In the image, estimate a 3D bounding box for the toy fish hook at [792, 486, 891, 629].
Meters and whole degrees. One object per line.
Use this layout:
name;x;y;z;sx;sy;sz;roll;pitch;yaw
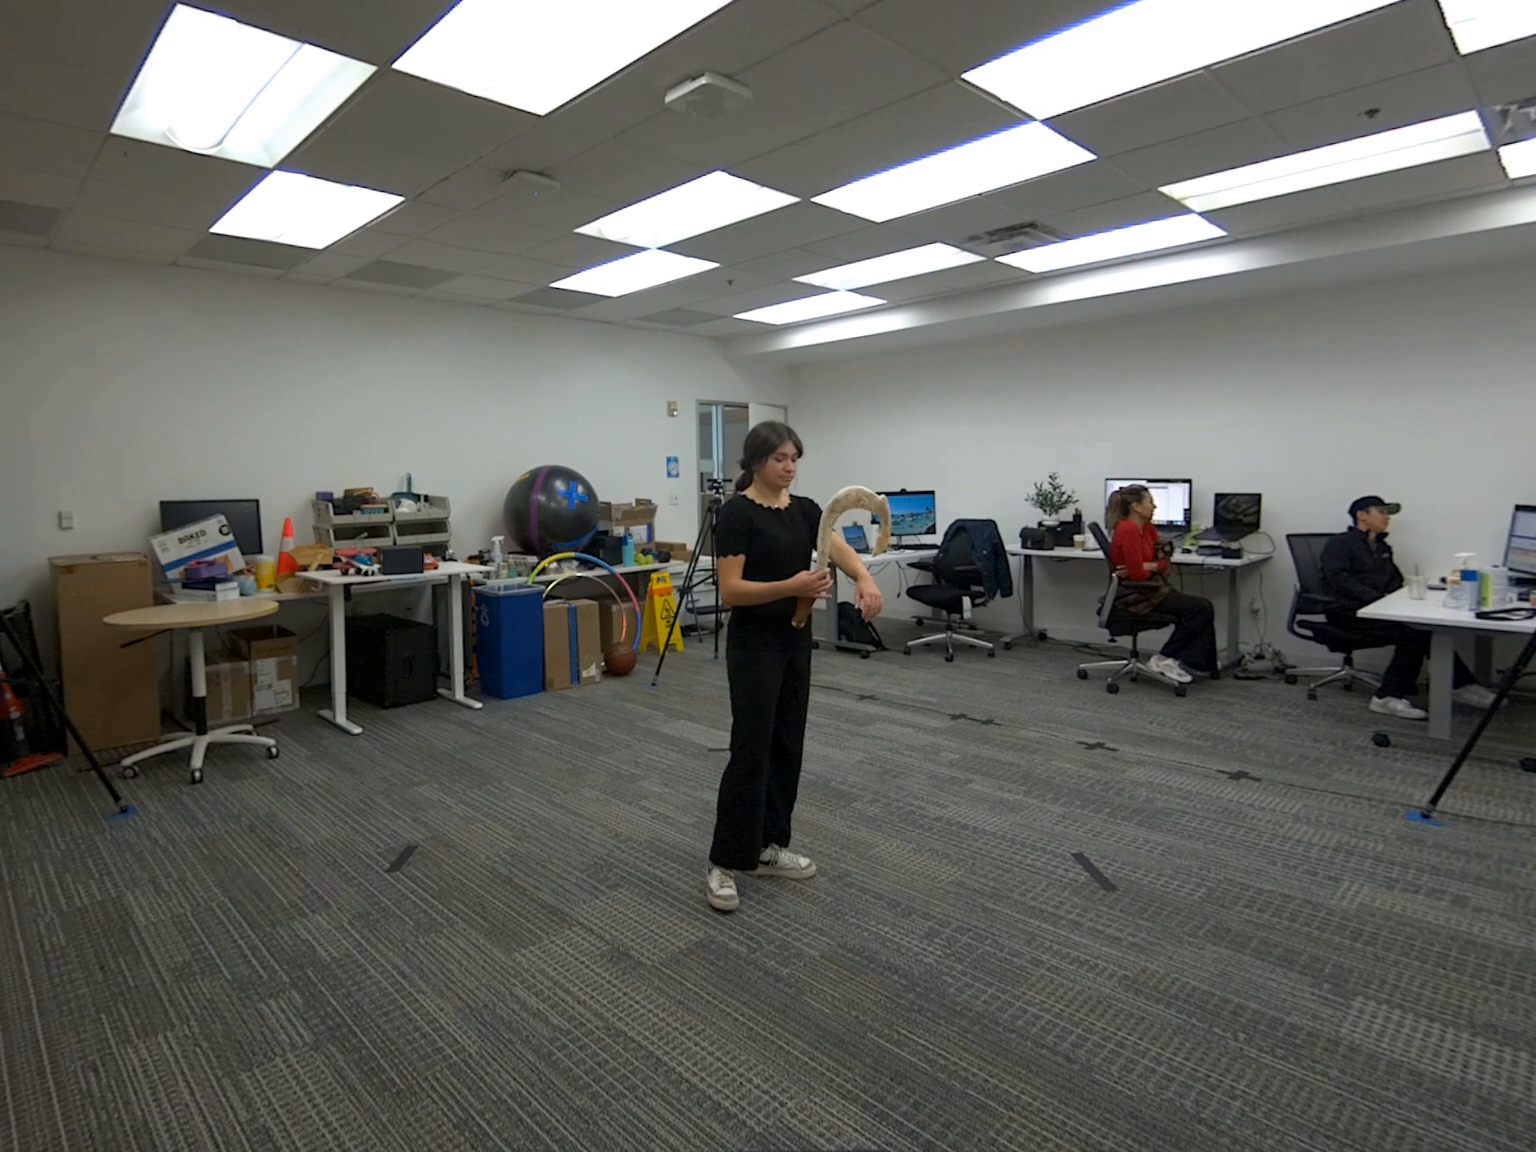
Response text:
toy fish hook;0.236;-0.026;2.692;0.227;0.502;0.048;22;15;8
